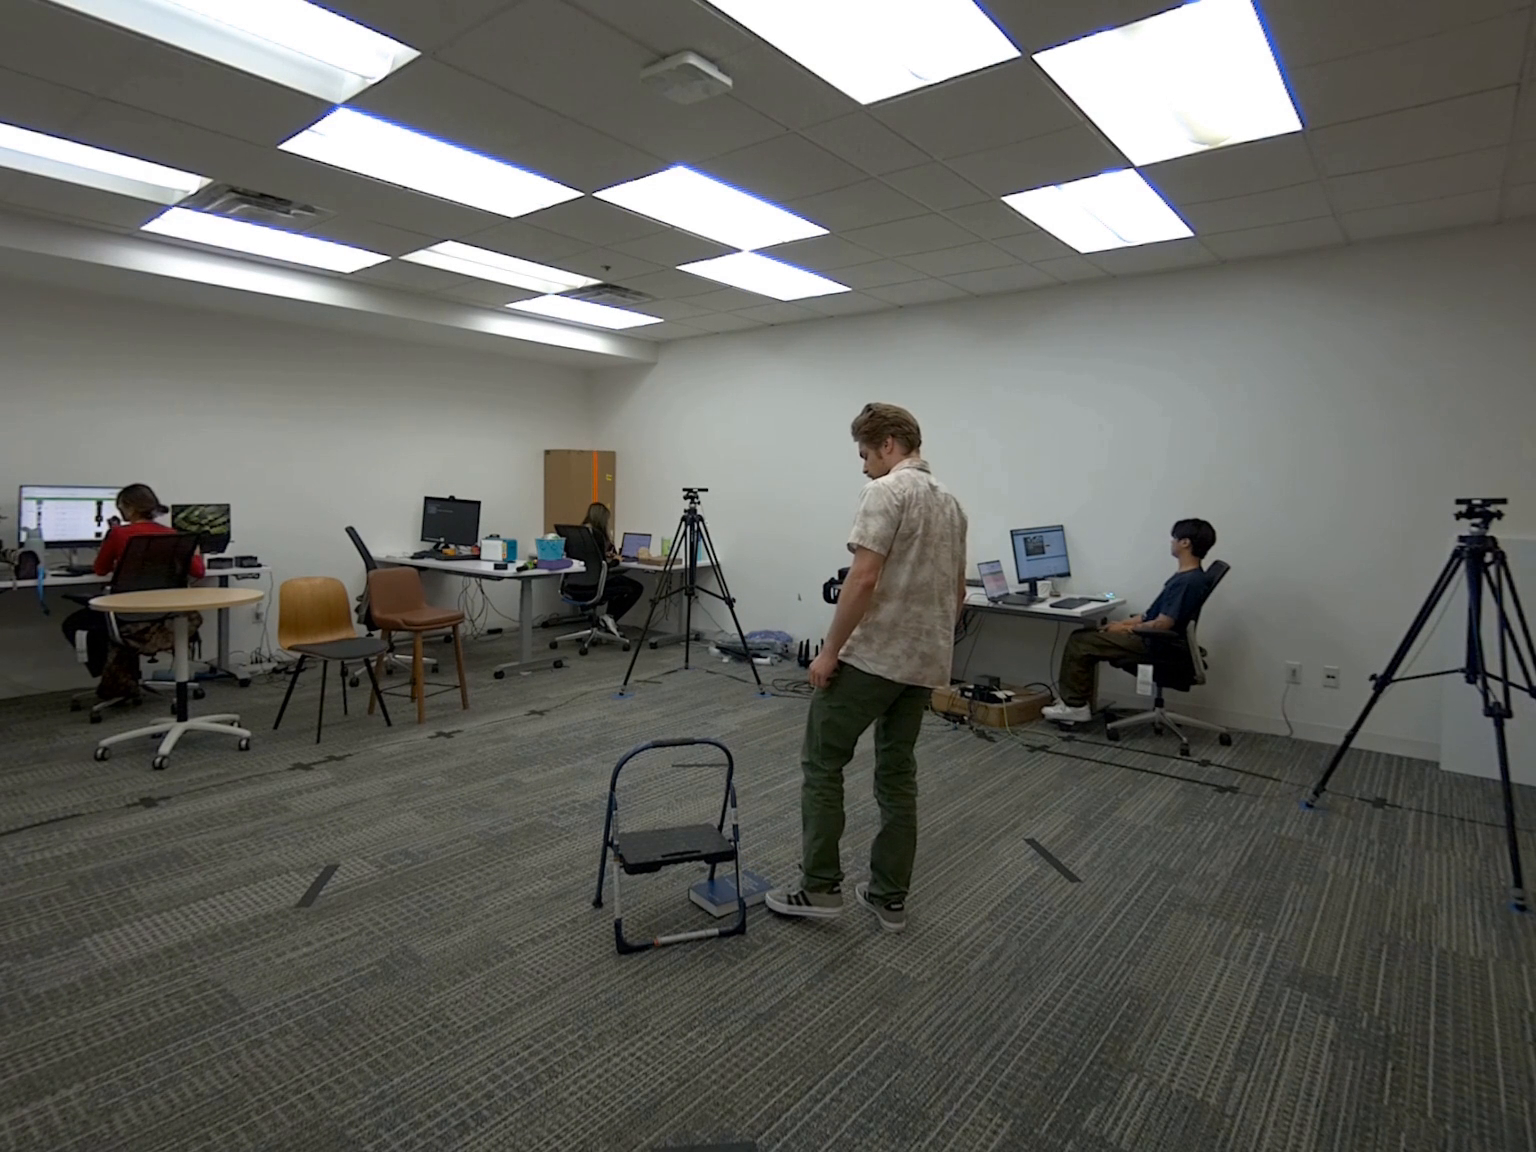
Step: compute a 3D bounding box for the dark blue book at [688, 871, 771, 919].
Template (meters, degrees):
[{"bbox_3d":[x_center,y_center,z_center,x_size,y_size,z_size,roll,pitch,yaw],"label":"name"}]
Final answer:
[{"bbox_3d":[-0.127,1.072,2.877,0.238,0.045,0.169,-3,6,-38],"label":"dark blue book"}]
